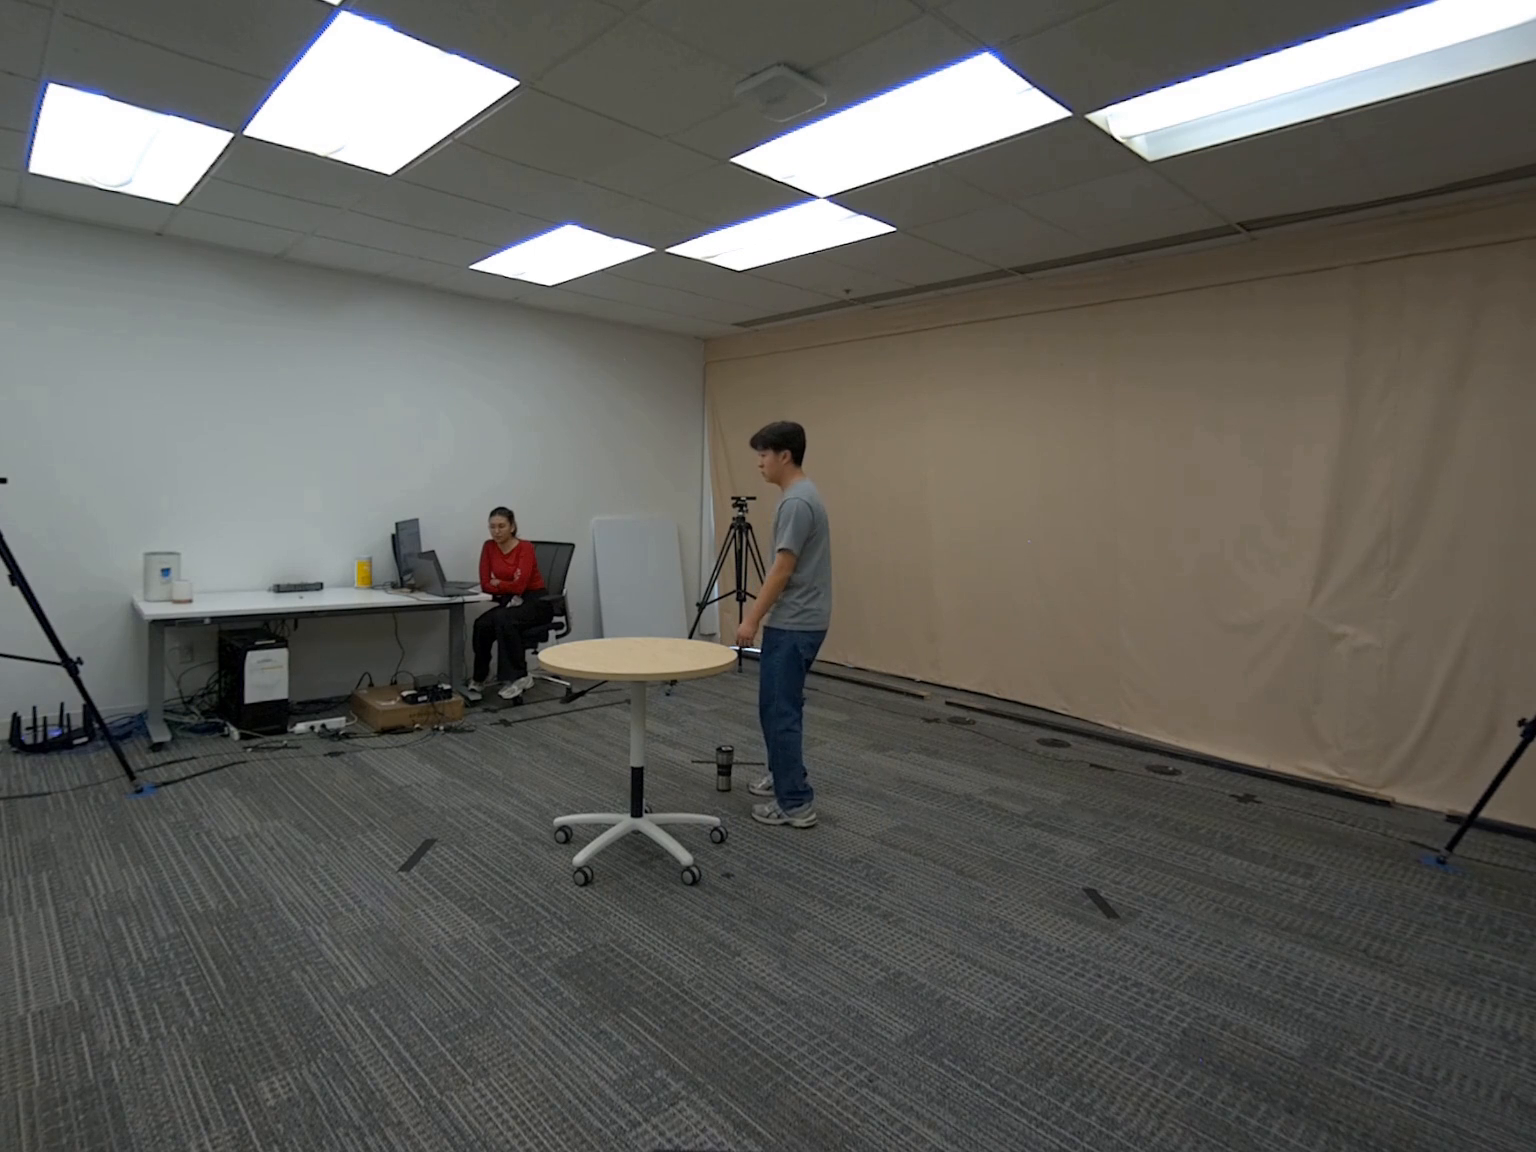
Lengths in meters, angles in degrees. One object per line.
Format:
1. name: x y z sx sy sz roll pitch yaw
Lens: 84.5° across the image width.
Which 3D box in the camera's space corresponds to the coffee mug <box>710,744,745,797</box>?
1. coffee mug: -0.196 0.925 4.042 0.119 0.203 0.090 -4 2 -36
